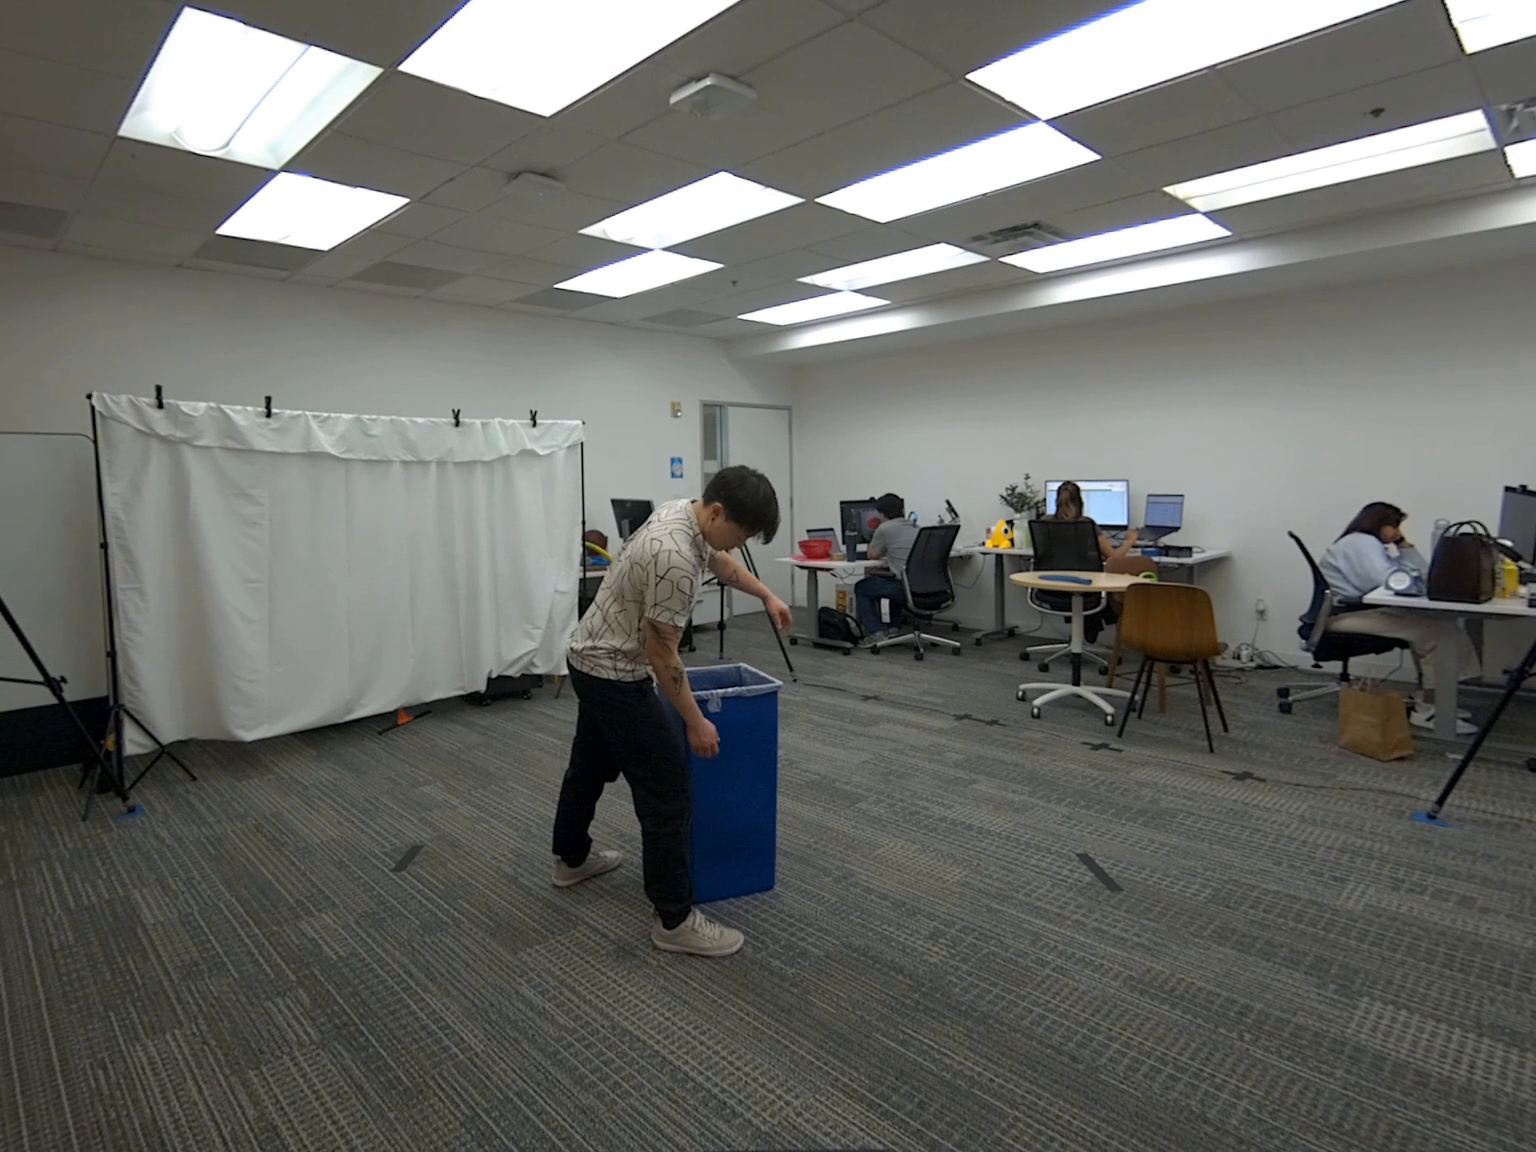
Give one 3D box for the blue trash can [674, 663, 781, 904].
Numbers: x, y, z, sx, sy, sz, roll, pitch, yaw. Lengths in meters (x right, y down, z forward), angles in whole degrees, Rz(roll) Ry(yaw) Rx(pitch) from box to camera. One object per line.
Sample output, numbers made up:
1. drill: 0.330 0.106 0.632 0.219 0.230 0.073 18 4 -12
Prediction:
1. blue trash can: -0.166 0.706 2.990 0.366 0.711 0.387 -3 4 -24
